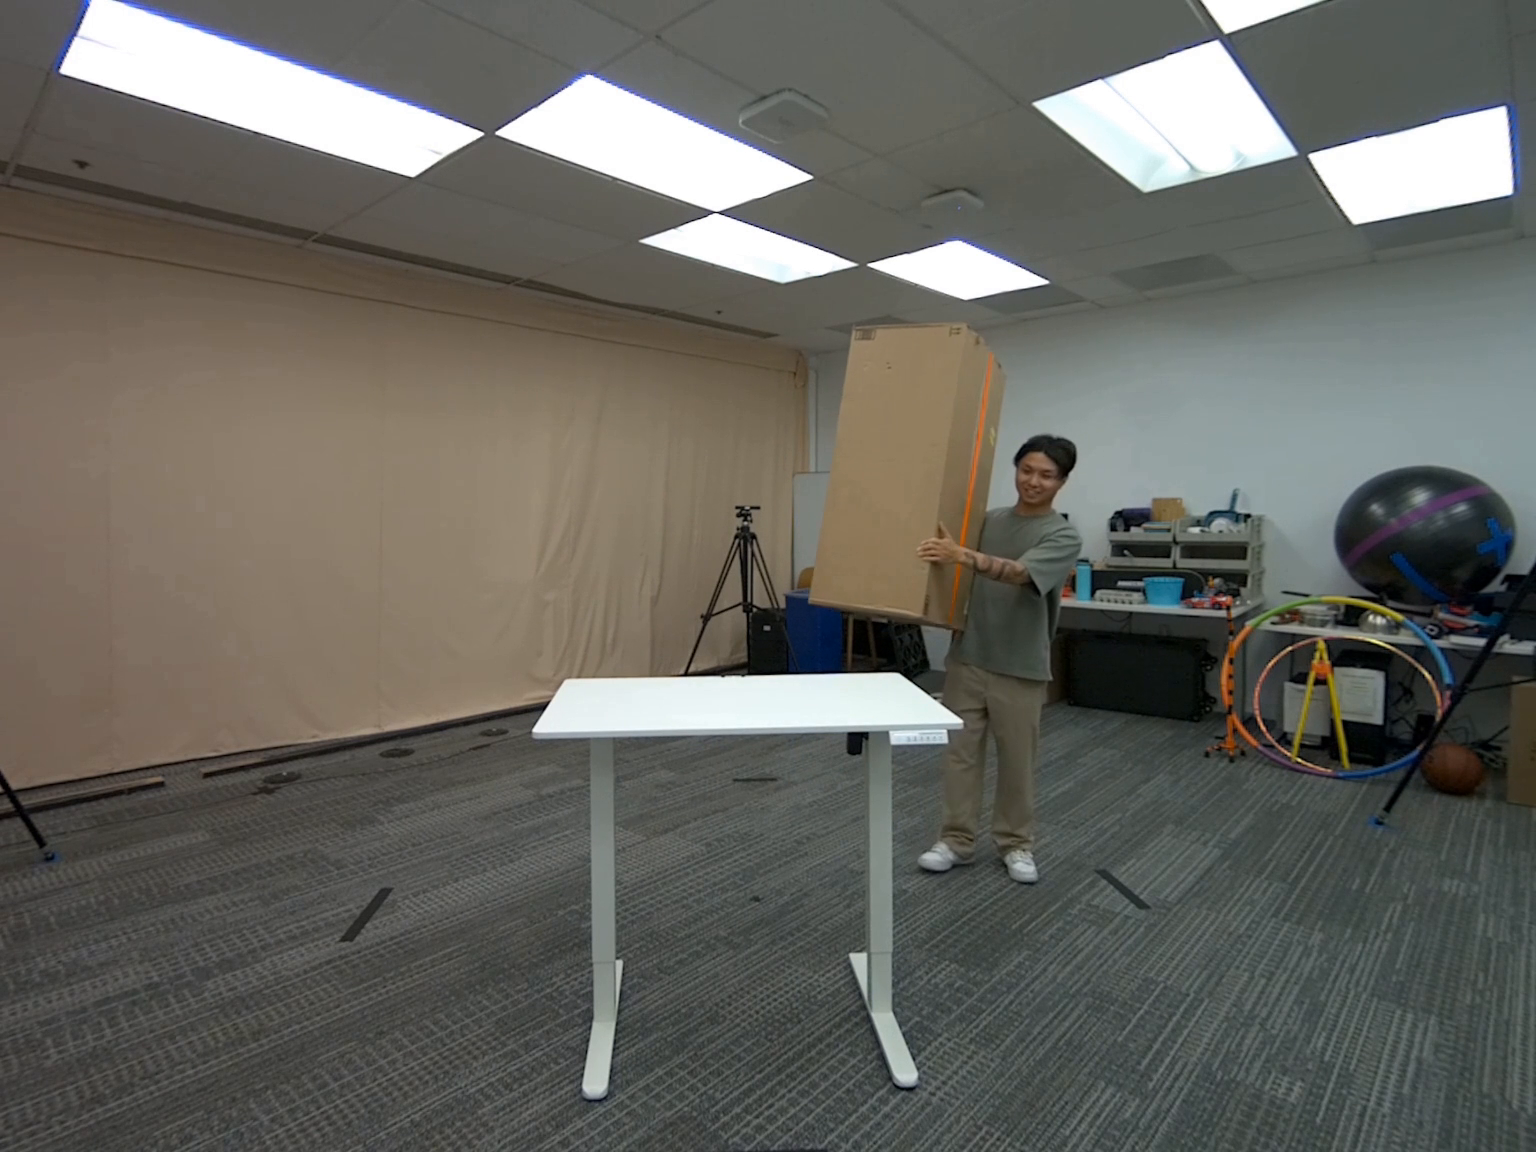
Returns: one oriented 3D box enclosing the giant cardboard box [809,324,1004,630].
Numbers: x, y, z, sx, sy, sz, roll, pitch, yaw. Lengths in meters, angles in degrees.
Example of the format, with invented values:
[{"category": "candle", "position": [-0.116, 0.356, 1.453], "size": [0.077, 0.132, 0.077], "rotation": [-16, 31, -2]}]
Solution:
[{"category": "giant cardboard box", "position": [0.545, -0.340, 3.156], "size": [0.439, 1.028, 0.559], "rotation": [7, -5, 30]}]
